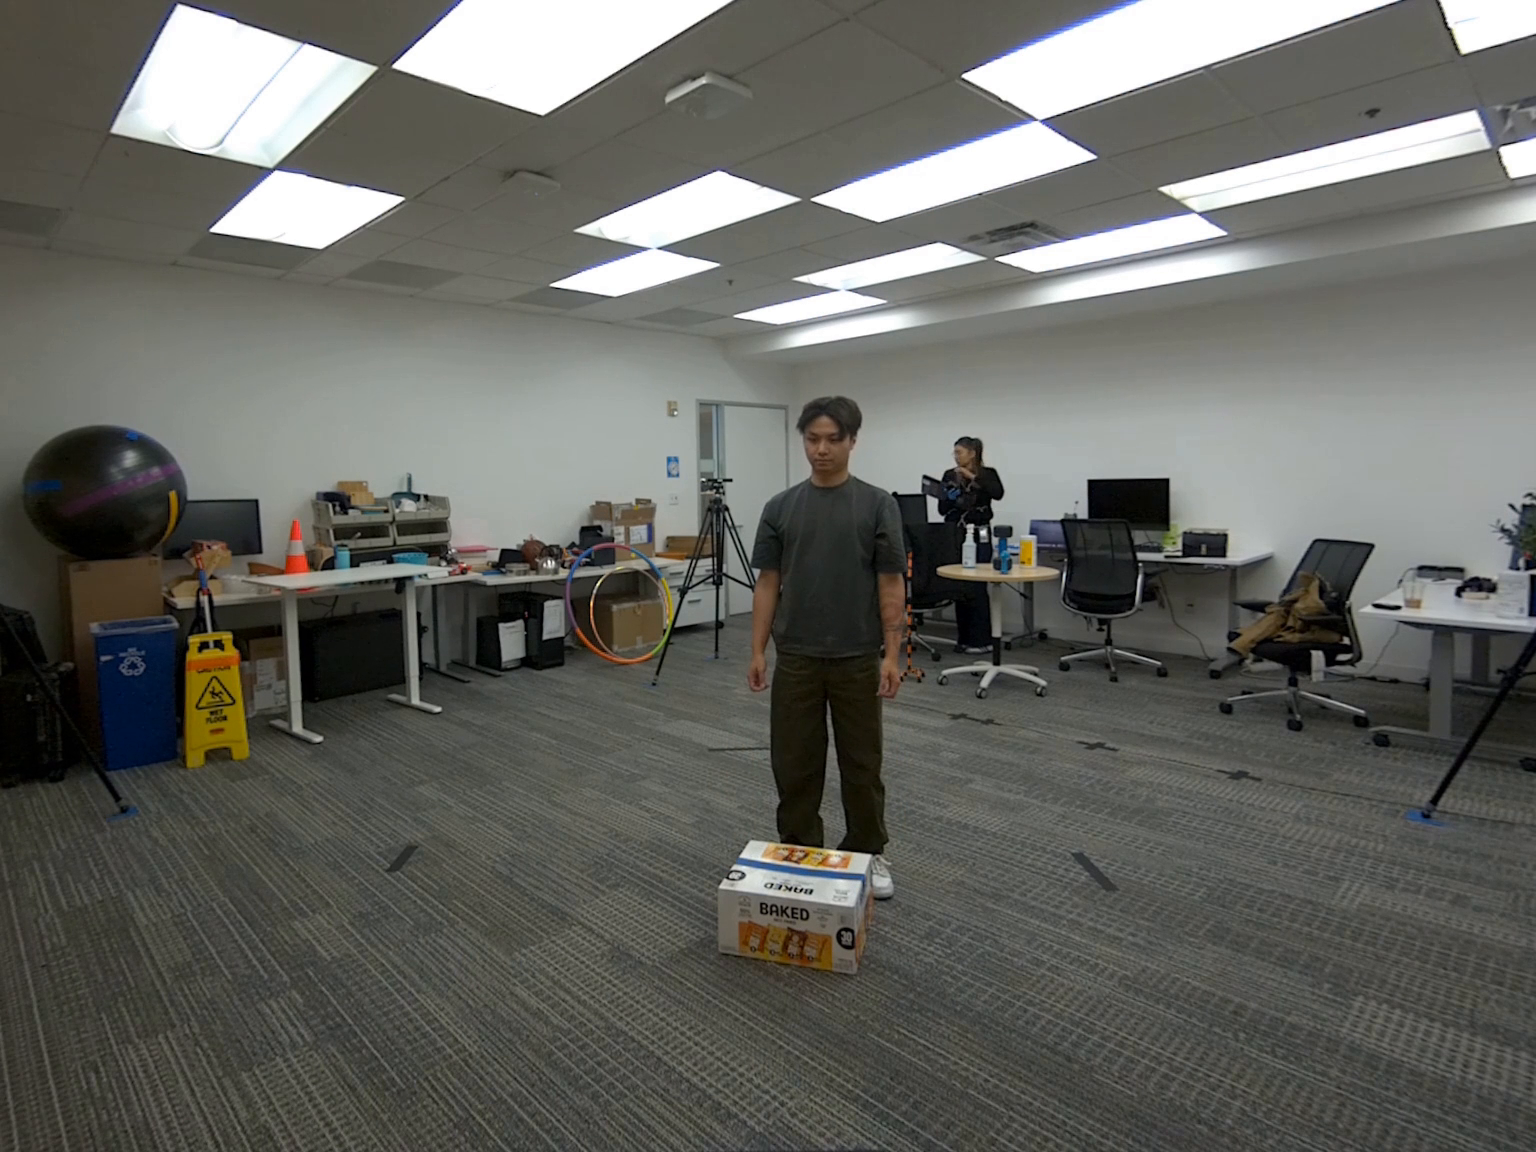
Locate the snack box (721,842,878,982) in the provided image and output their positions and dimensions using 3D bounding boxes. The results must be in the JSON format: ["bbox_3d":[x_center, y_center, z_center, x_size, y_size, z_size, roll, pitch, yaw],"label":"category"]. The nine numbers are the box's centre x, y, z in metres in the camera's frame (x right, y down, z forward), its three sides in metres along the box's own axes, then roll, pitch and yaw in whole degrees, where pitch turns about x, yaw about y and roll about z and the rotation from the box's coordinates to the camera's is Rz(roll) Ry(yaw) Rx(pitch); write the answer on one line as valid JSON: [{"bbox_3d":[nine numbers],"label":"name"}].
[{"bbox_3d":[0.103,1.002,2.604,0.412,0.205,0.336,1,6,17],"label":"snack box"}]
